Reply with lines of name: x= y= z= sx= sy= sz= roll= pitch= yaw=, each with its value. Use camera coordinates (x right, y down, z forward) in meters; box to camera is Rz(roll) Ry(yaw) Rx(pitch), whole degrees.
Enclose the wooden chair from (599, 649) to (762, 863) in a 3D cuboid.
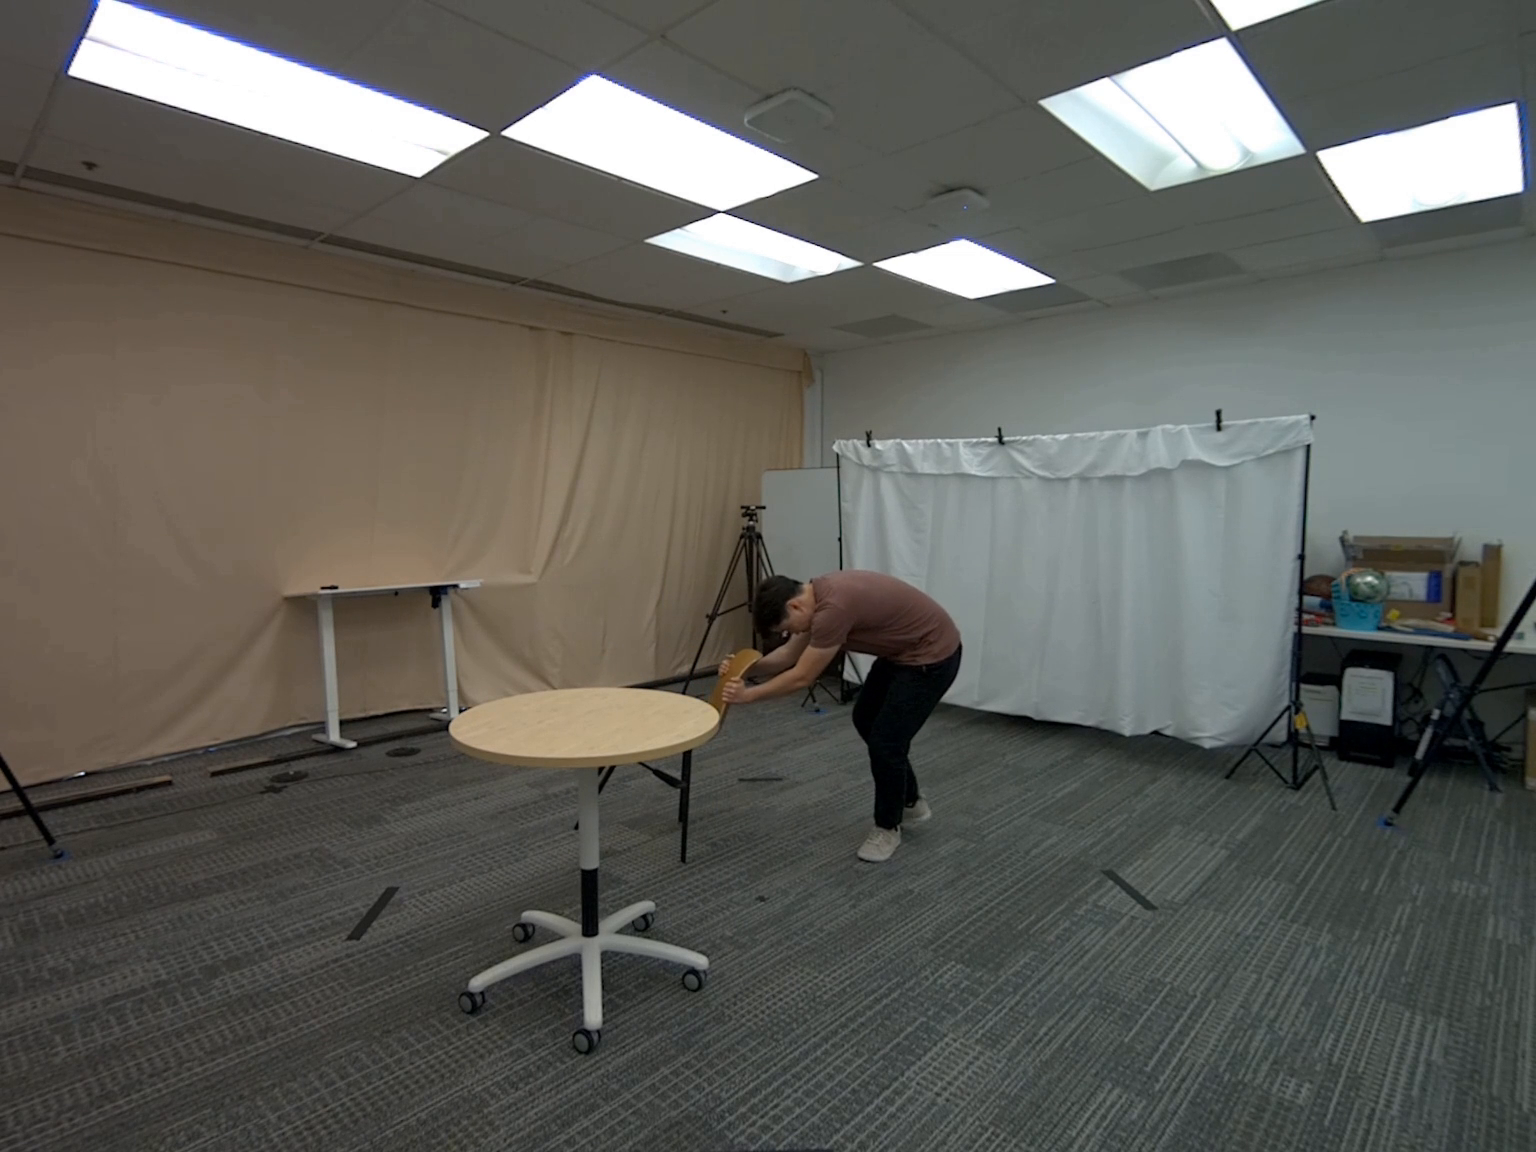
wooden chair: x=-0.434 y=0.633 z=3.472 sx=0.520 sy=0.877 sz=0.481 roll=23 pitch=2 yaw=-6
